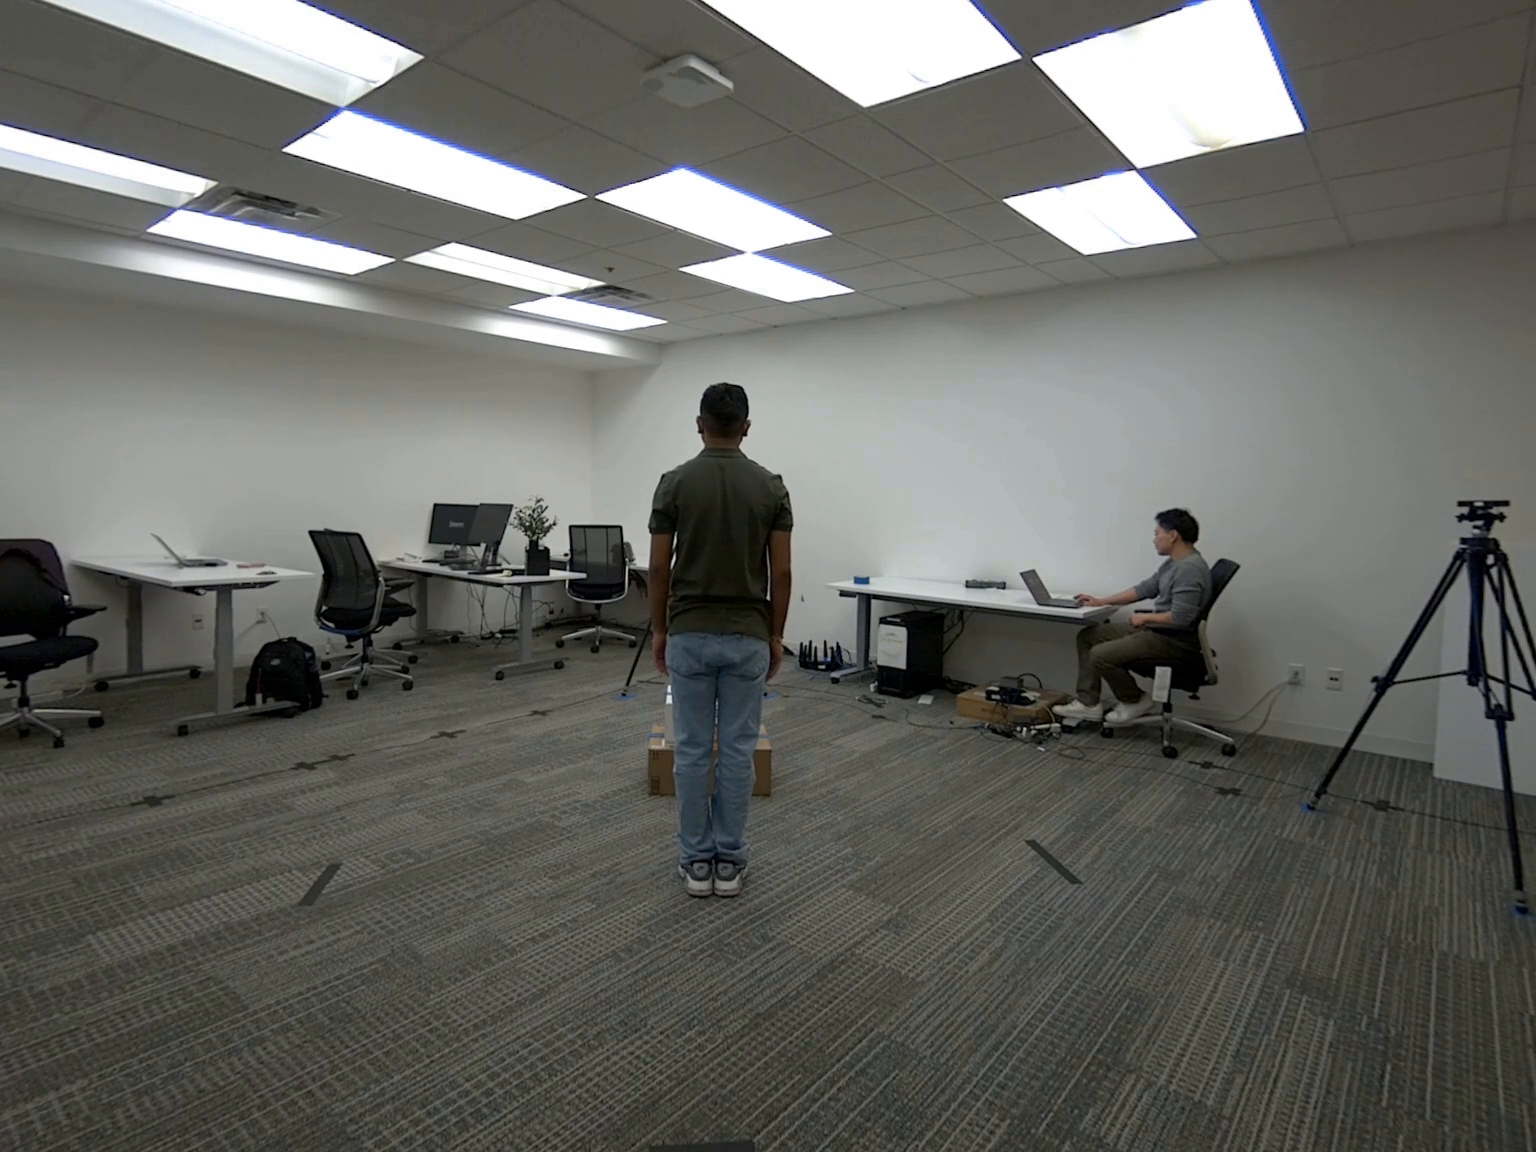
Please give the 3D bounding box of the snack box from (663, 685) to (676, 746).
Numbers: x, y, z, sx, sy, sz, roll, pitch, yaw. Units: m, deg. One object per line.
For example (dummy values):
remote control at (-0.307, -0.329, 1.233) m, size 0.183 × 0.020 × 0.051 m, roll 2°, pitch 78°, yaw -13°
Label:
snack box at (-0.290, 0.658, 4.062) m, size 0.404 × 0.205 × 0.343 m, roll 1°, pitch 6°, yaw -3°
